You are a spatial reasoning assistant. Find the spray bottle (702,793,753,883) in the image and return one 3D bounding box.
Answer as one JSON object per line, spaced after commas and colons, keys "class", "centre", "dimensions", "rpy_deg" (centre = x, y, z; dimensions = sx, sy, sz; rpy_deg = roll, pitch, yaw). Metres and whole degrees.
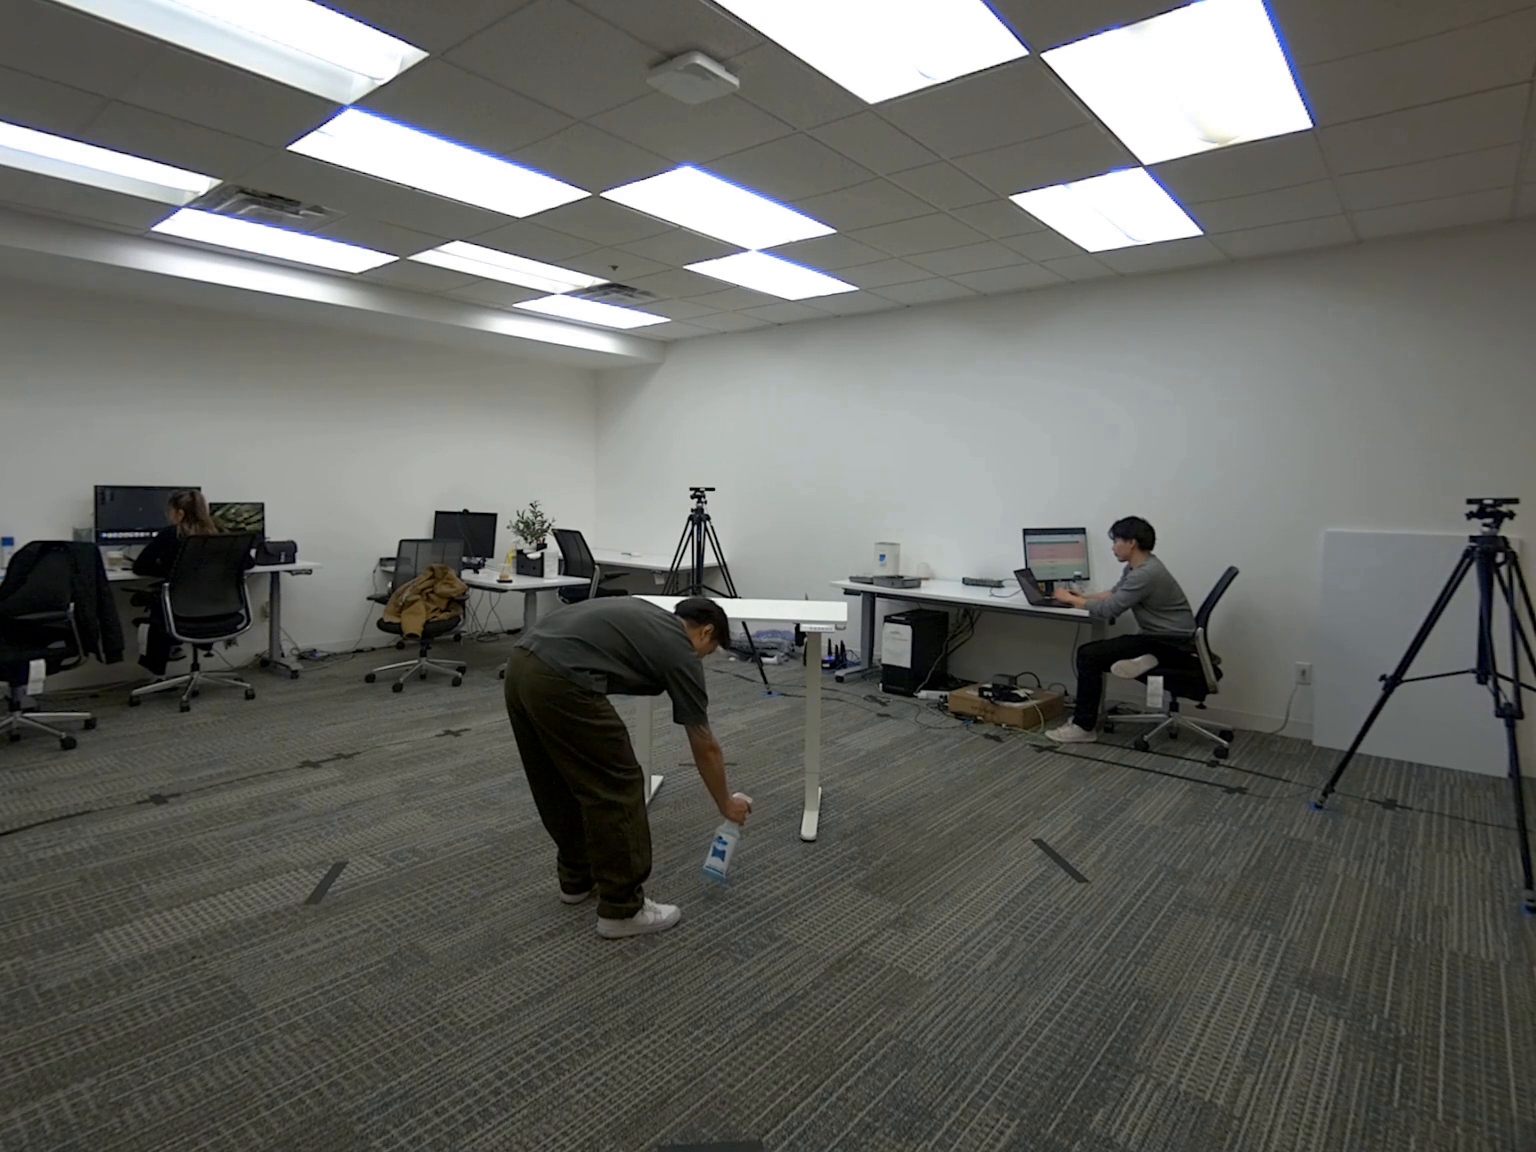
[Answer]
{"class": "spray bottle", "centre": [-0.152, 0.903, 2.944], "dimensions": [0.089, 0.300, 0.087], "rpy_deg": [26, -24, -8]}
